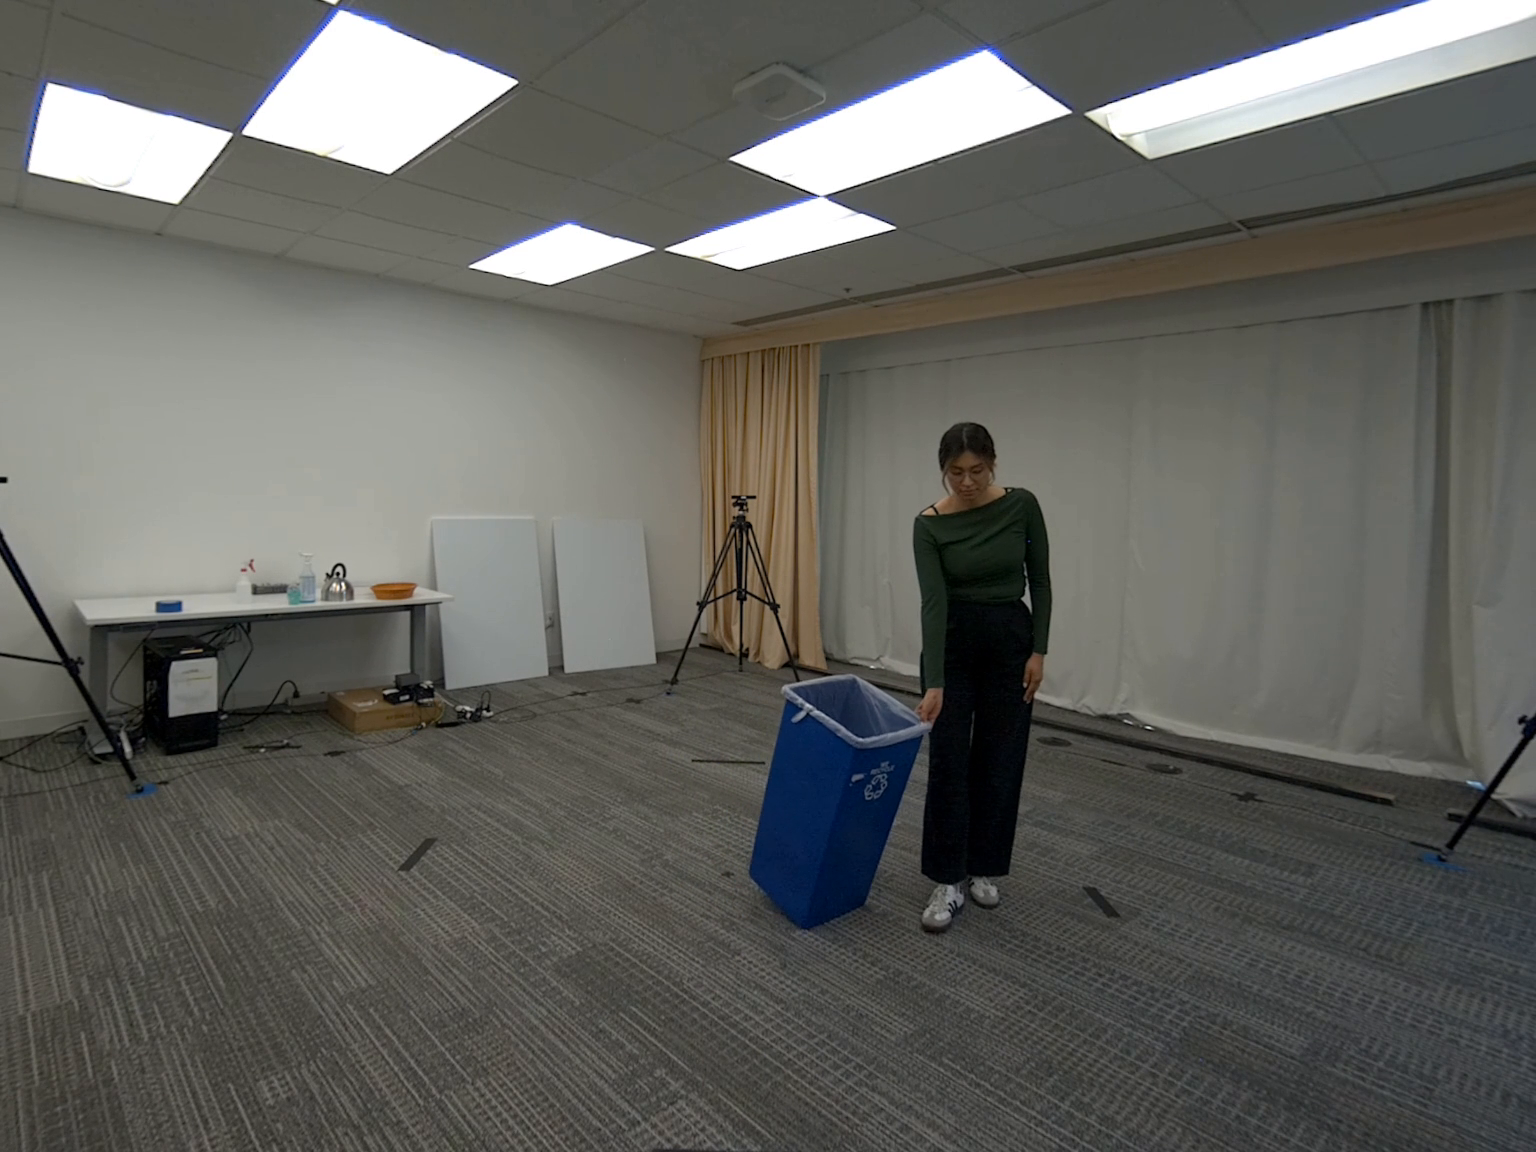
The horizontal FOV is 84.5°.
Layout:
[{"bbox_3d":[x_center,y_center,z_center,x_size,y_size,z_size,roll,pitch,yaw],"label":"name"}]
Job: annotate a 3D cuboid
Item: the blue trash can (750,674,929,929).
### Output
[{"bbox_3d":[0.200,0.748,2.805,0.369,0.707,0.386,-1,21,-41],"label":"blue trash can"}]
